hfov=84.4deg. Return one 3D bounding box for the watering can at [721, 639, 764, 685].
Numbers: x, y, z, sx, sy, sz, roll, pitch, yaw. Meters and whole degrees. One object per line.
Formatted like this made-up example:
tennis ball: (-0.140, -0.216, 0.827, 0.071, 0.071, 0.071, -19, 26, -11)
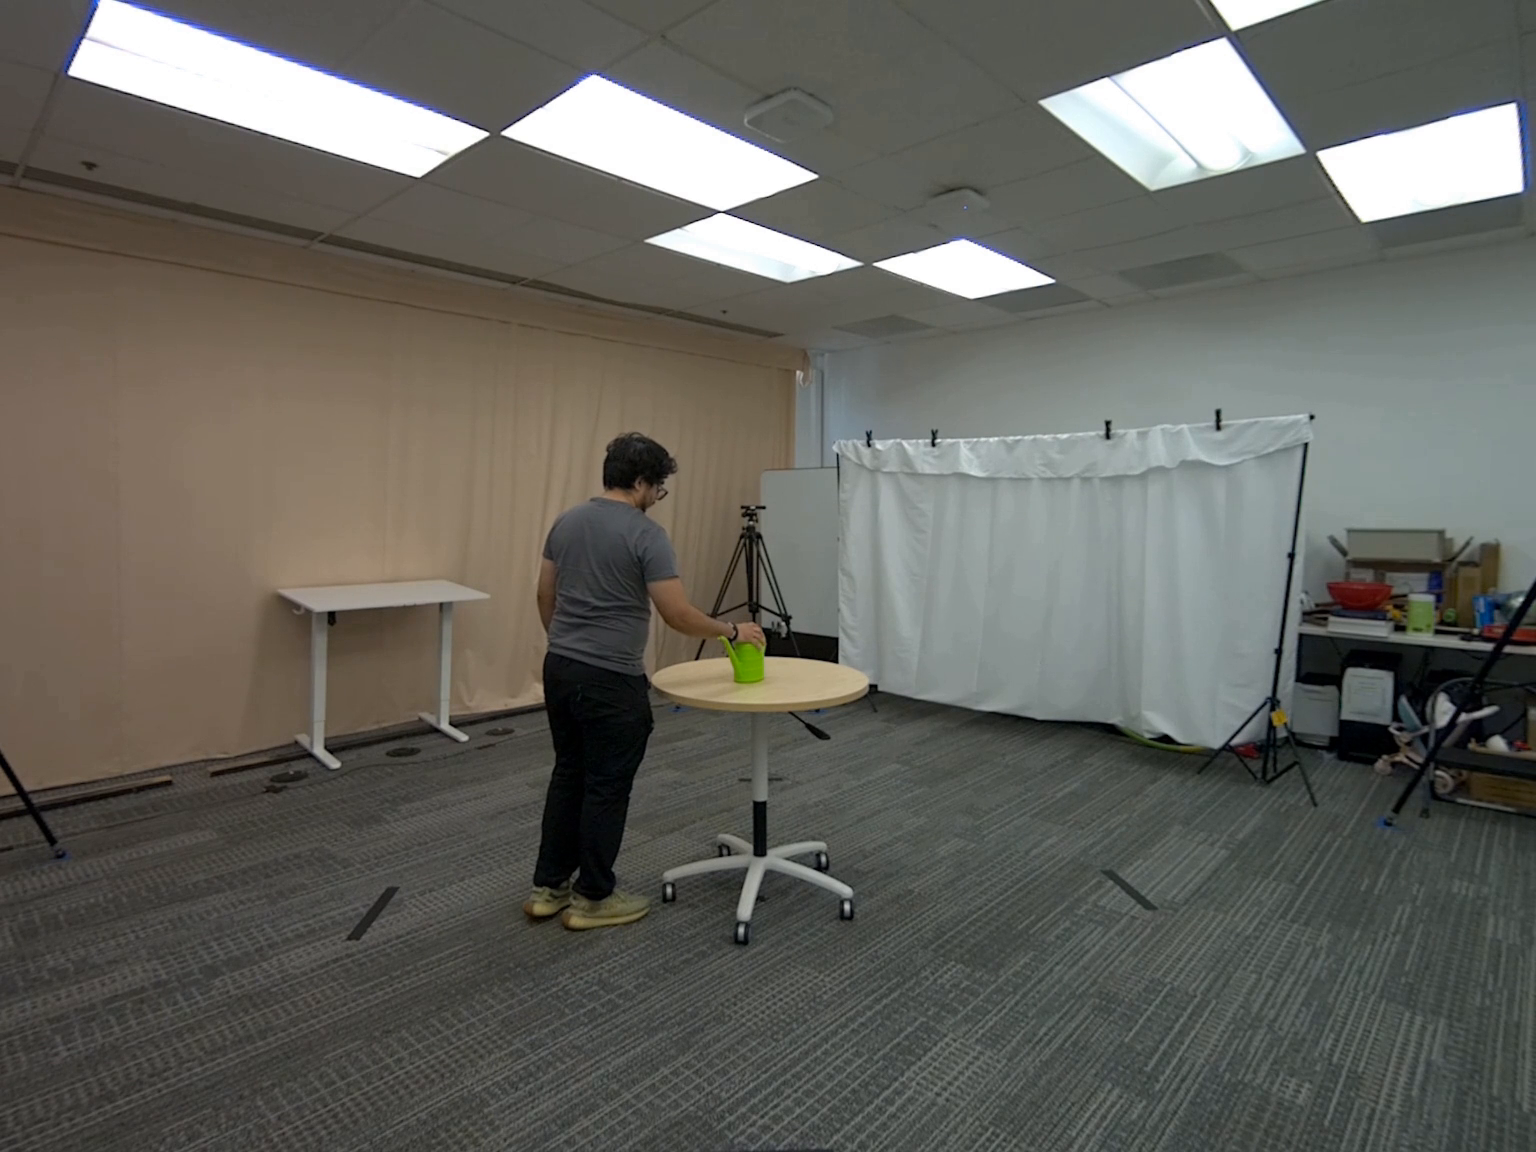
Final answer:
watering can: (-0.092, 0.282, 2.906, 0.270, 0.176, 0.101, -5, 6, -43)
